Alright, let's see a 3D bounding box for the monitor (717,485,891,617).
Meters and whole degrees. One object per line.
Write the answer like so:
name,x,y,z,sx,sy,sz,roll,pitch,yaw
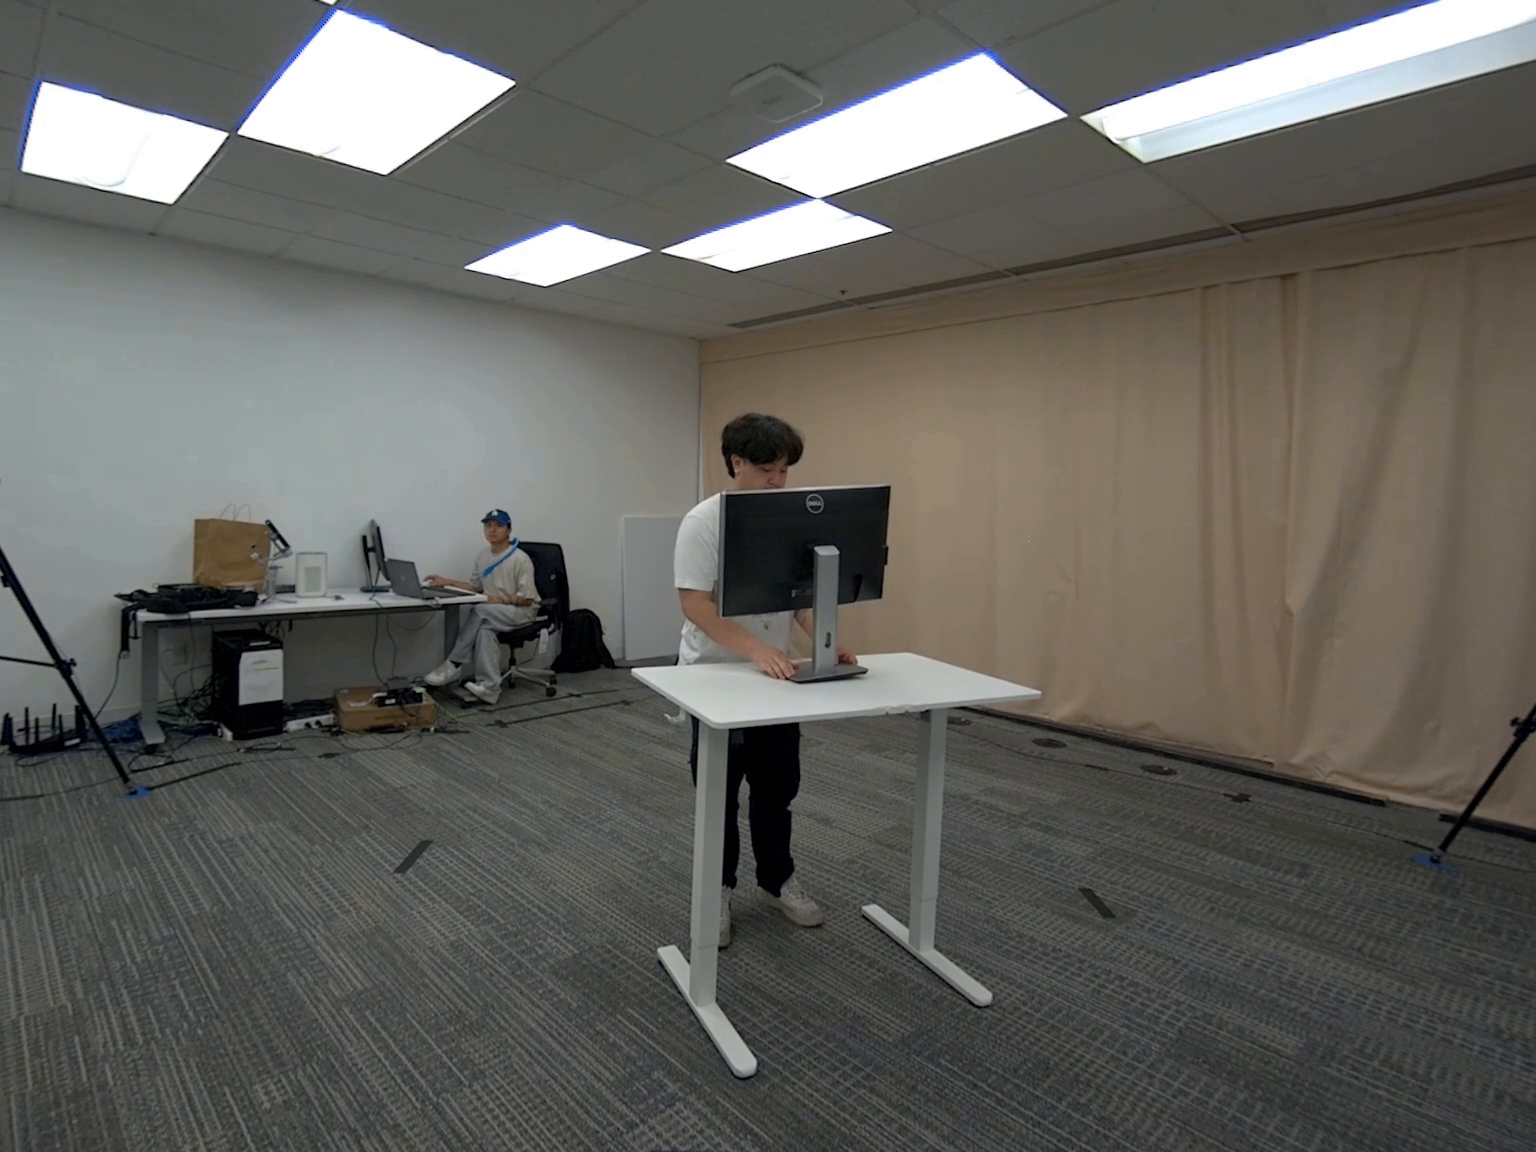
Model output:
monitor,0.142,0.021,2.420,0.555,0.550,0.215,-4,9,-27
